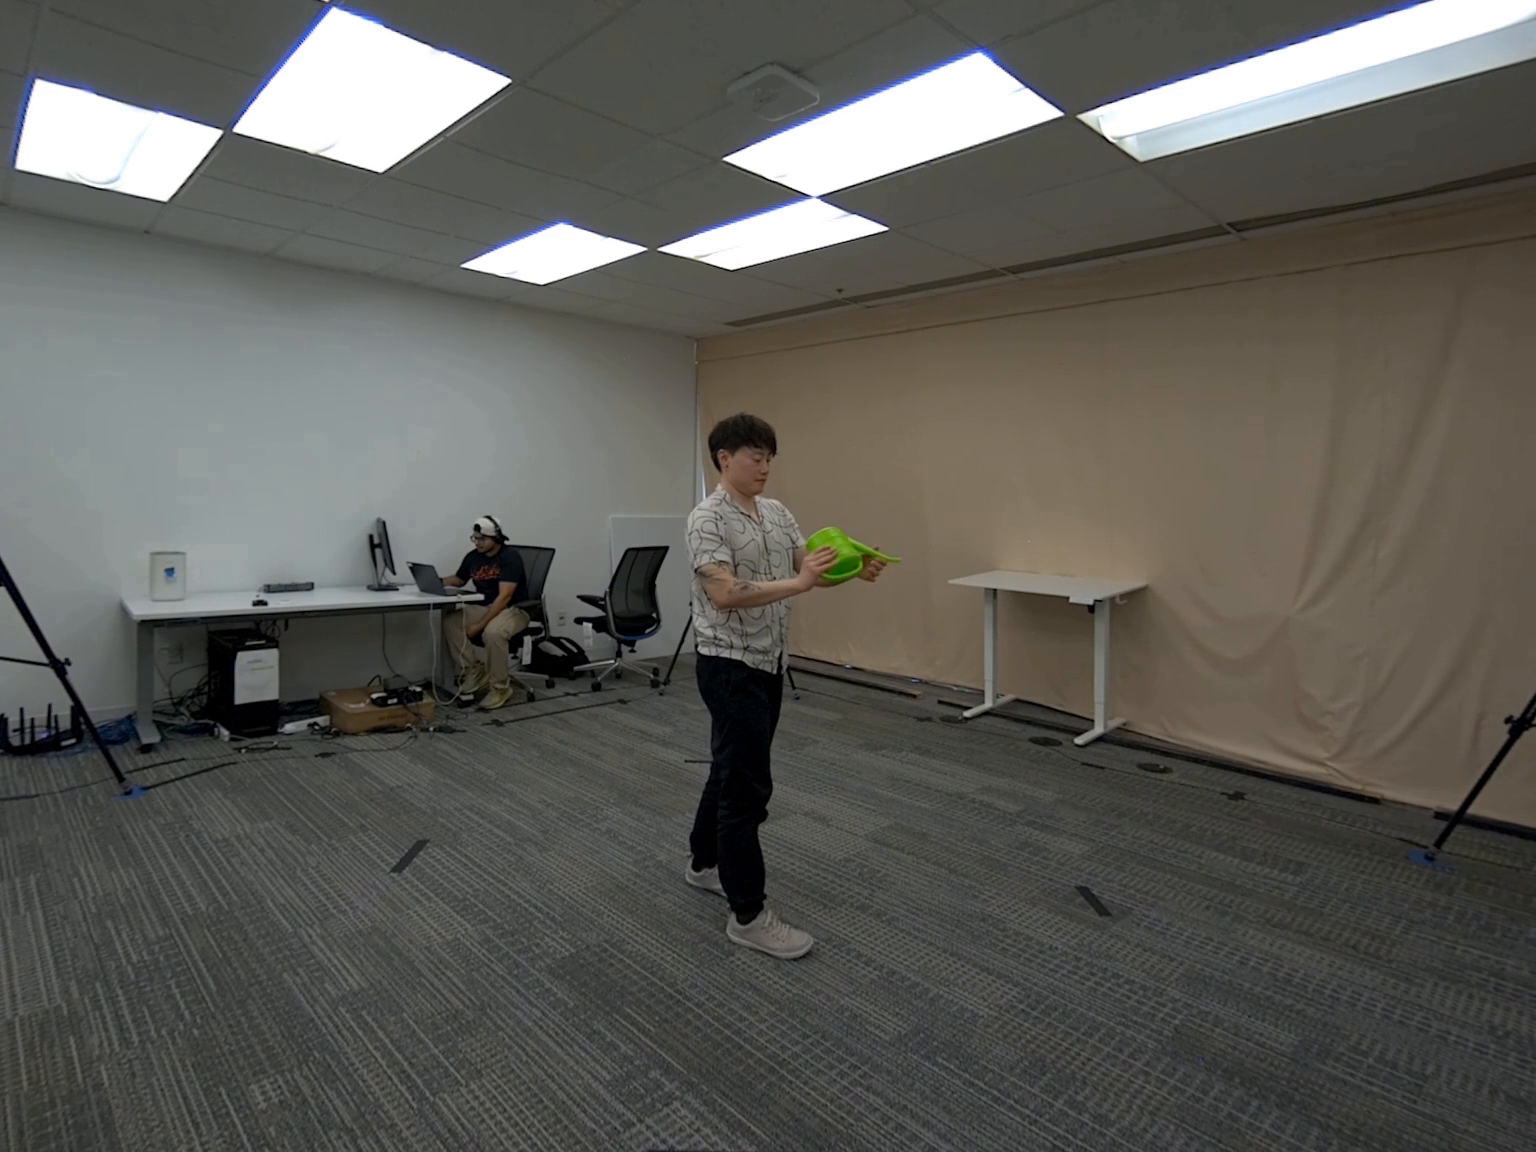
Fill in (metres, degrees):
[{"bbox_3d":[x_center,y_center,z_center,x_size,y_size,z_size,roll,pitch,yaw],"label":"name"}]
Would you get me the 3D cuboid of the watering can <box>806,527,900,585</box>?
[{"bbox_3d":[0.246,-0.060,2.601,0.274,0.096,0.182,-11,50,-28],"label":"watering can"}]
